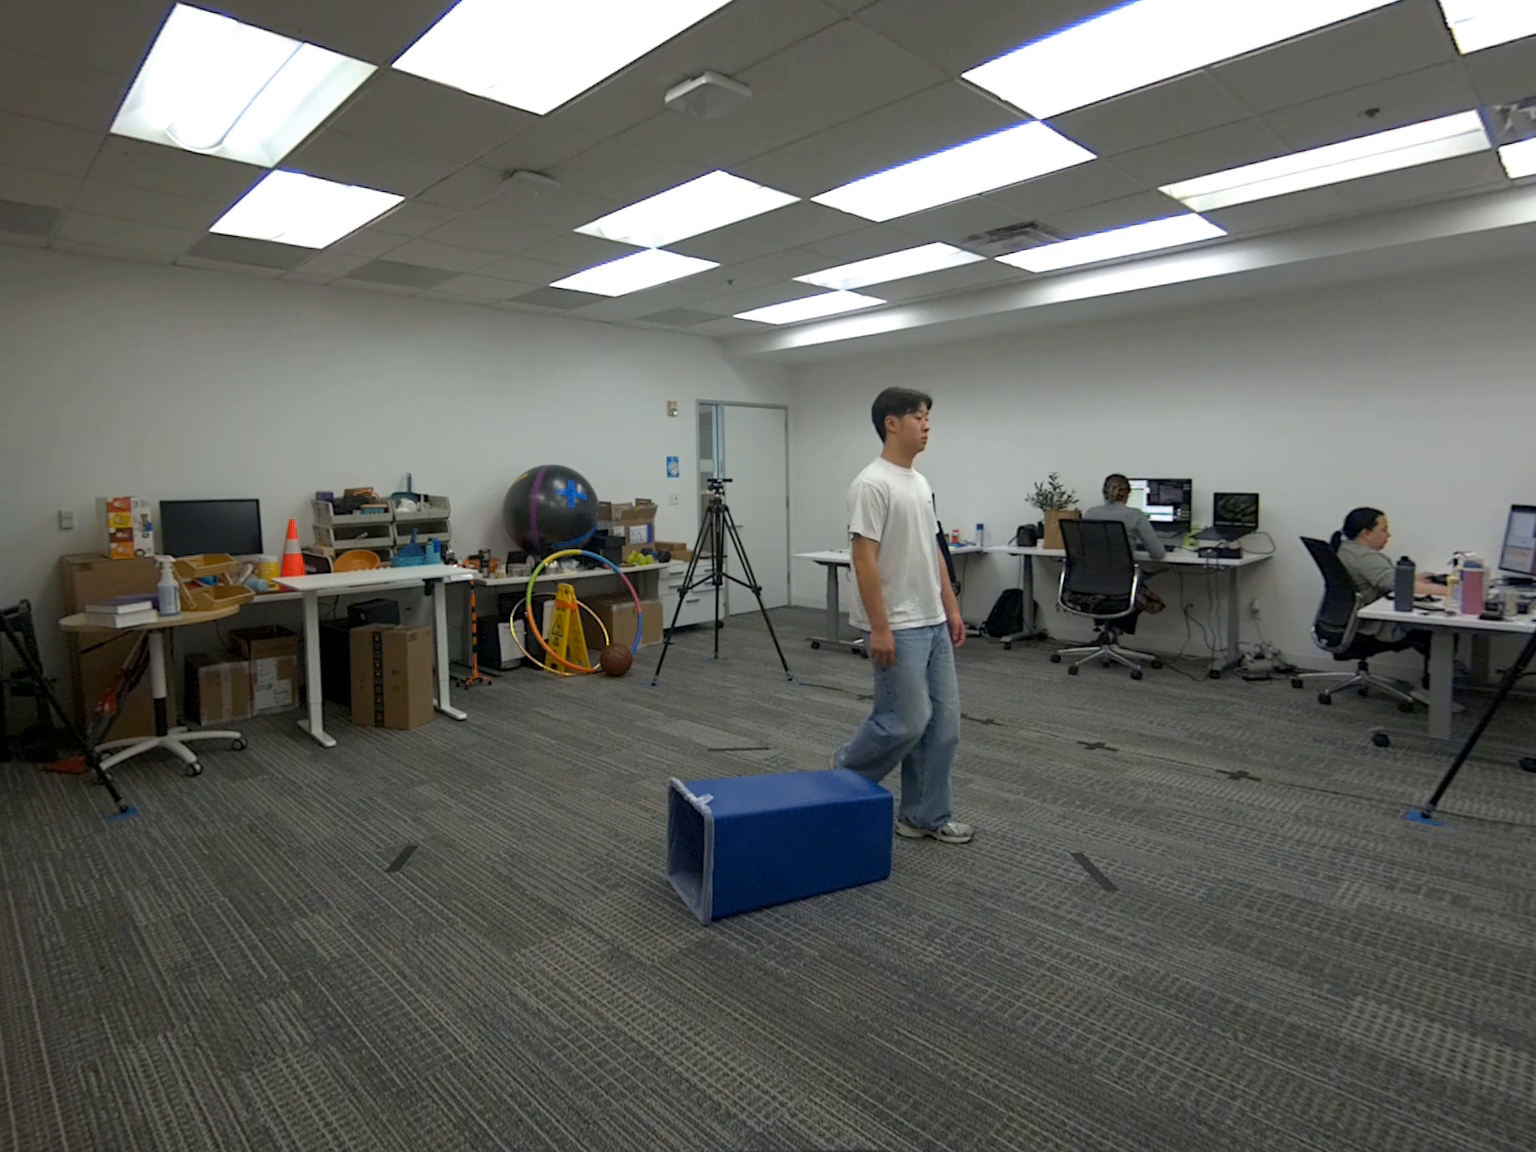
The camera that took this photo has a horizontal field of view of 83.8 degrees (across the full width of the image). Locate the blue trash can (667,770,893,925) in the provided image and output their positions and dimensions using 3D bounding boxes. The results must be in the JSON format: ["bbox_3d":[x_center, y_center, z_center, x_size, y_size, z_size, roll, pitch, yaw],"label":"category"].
[{"bbox_3d":[0.043,0.895,2.959,0.698,0.377,0.383,-1,4,-25],"label":"blue trash can"}]
